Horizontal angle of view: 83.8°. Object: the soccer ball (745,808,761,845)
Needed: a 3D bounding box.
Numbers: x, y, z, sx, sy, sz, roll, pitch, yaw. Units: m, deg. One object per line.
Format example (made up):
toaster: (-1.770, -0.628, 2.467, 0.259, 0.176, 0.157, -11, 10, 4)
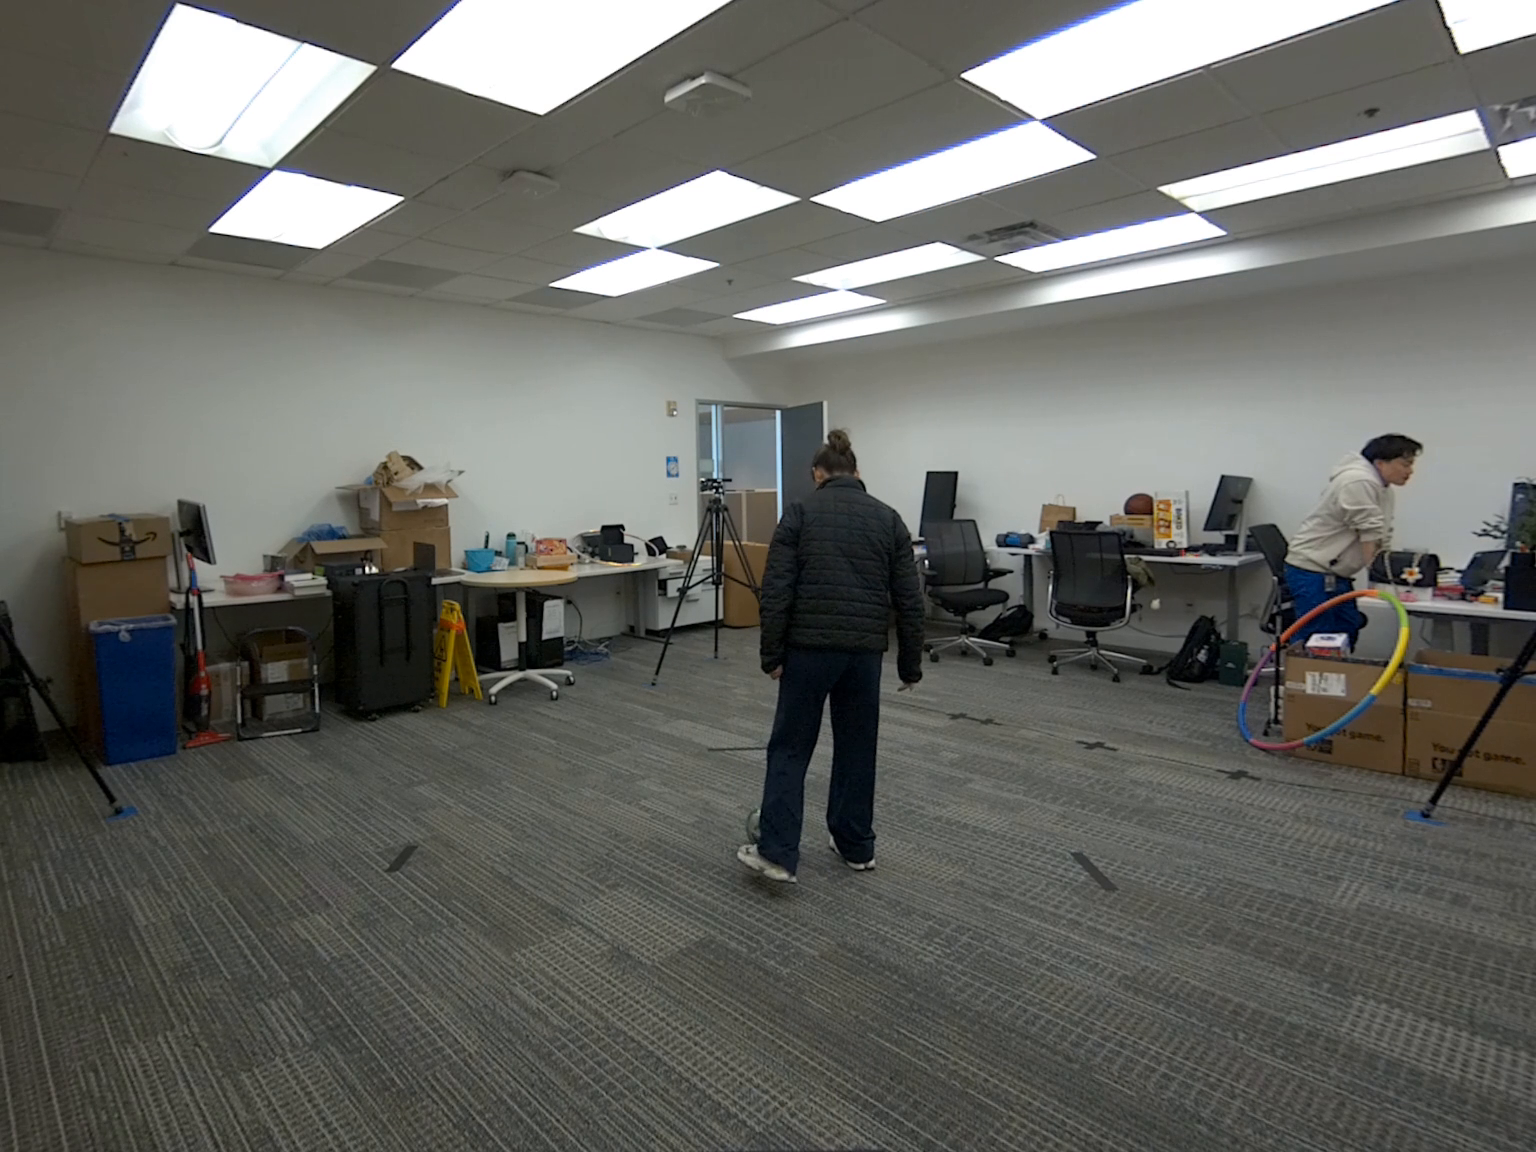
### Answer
soccer ball: (0.016, 0.941, 3.197, 0.187, 0.187, 0.188, -1, 5, -2)
